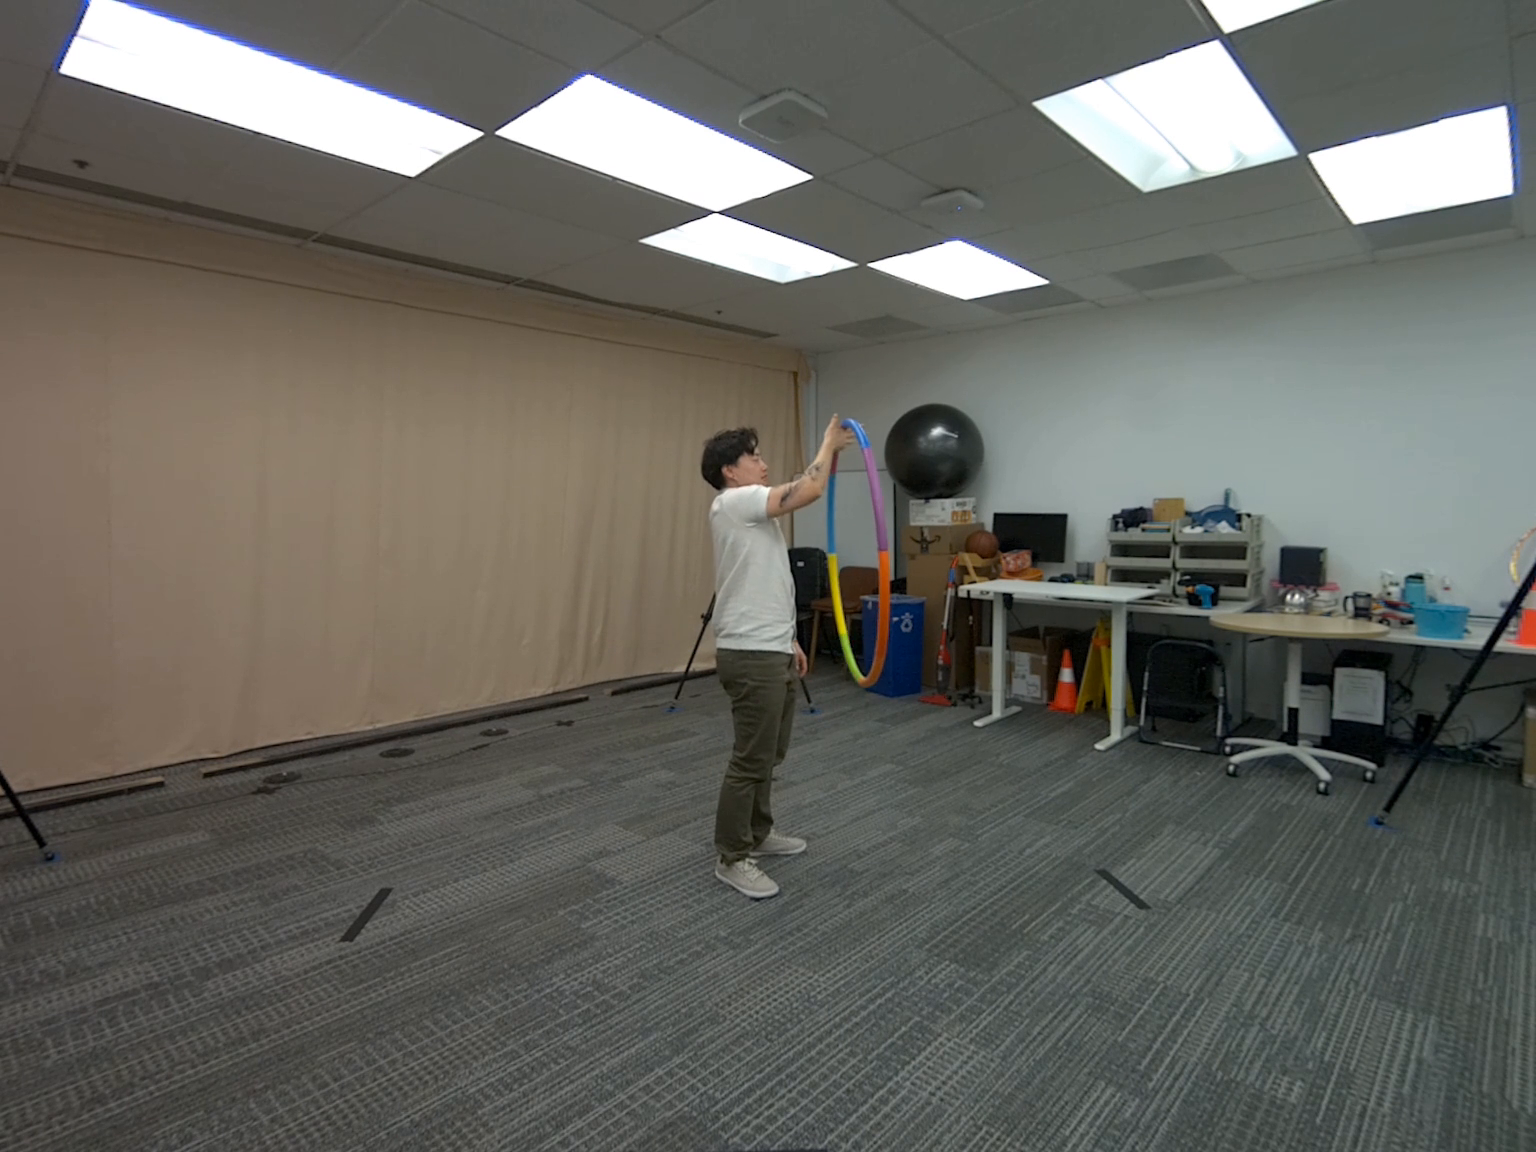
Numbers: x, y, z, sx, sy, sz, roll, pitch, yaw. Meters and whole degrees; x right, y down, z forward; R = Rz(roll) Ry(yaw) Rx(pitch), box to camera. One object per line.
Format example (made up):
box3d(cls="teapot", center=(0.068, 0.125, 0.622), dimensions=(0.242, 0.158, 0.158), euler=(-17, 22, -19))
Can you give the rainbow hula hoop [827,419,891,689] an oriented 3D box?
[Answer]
box3d(cls="rainbow hula hoop", center=(0.324, -0.087, 3.155), dimensions=(0.035, 0.976, 0.986), euler=(-3, 4, -6))
